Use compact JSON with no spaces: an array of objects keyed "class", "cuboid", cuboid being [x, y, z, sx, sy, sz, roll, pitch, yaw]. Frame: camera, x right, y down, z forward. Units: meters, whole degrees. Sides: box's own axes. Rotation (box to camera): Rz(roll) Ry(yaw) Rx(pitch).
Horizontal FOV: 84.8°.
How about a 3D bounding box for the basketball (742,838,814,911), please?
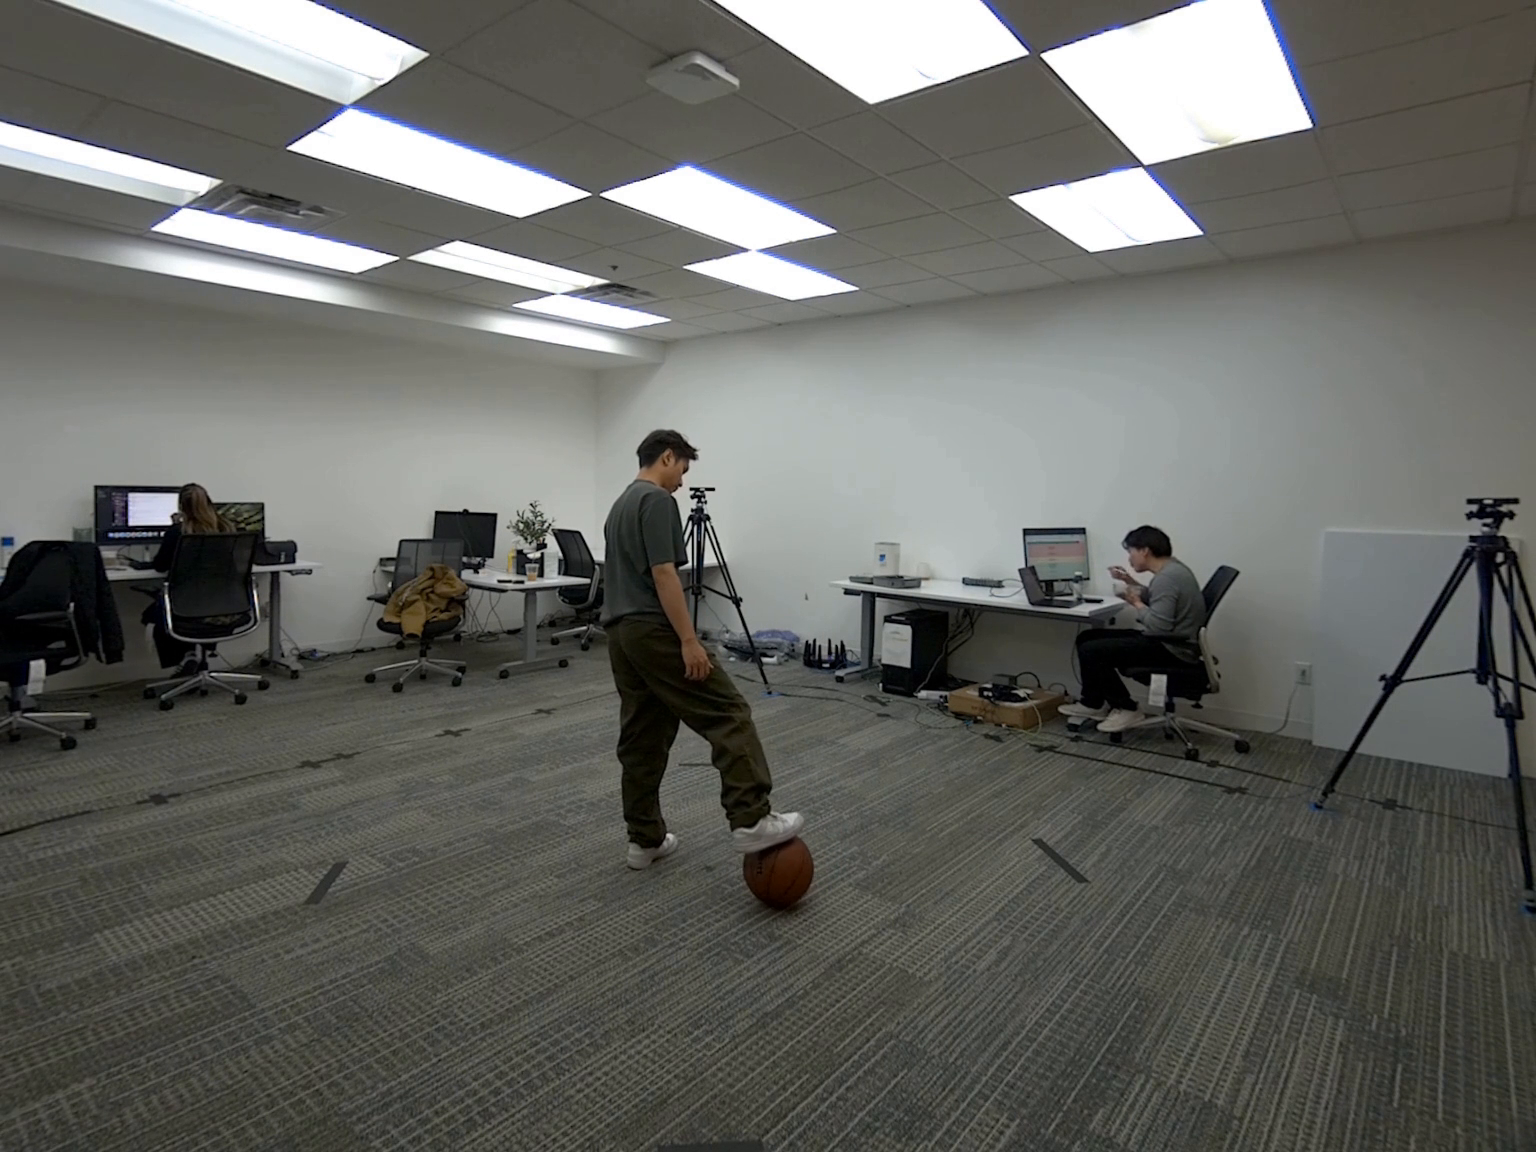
[{"class":"basketball","cuboid":[0.028,0.977,2.864,0.235,0.235,0.237,1,4,-2]}]
